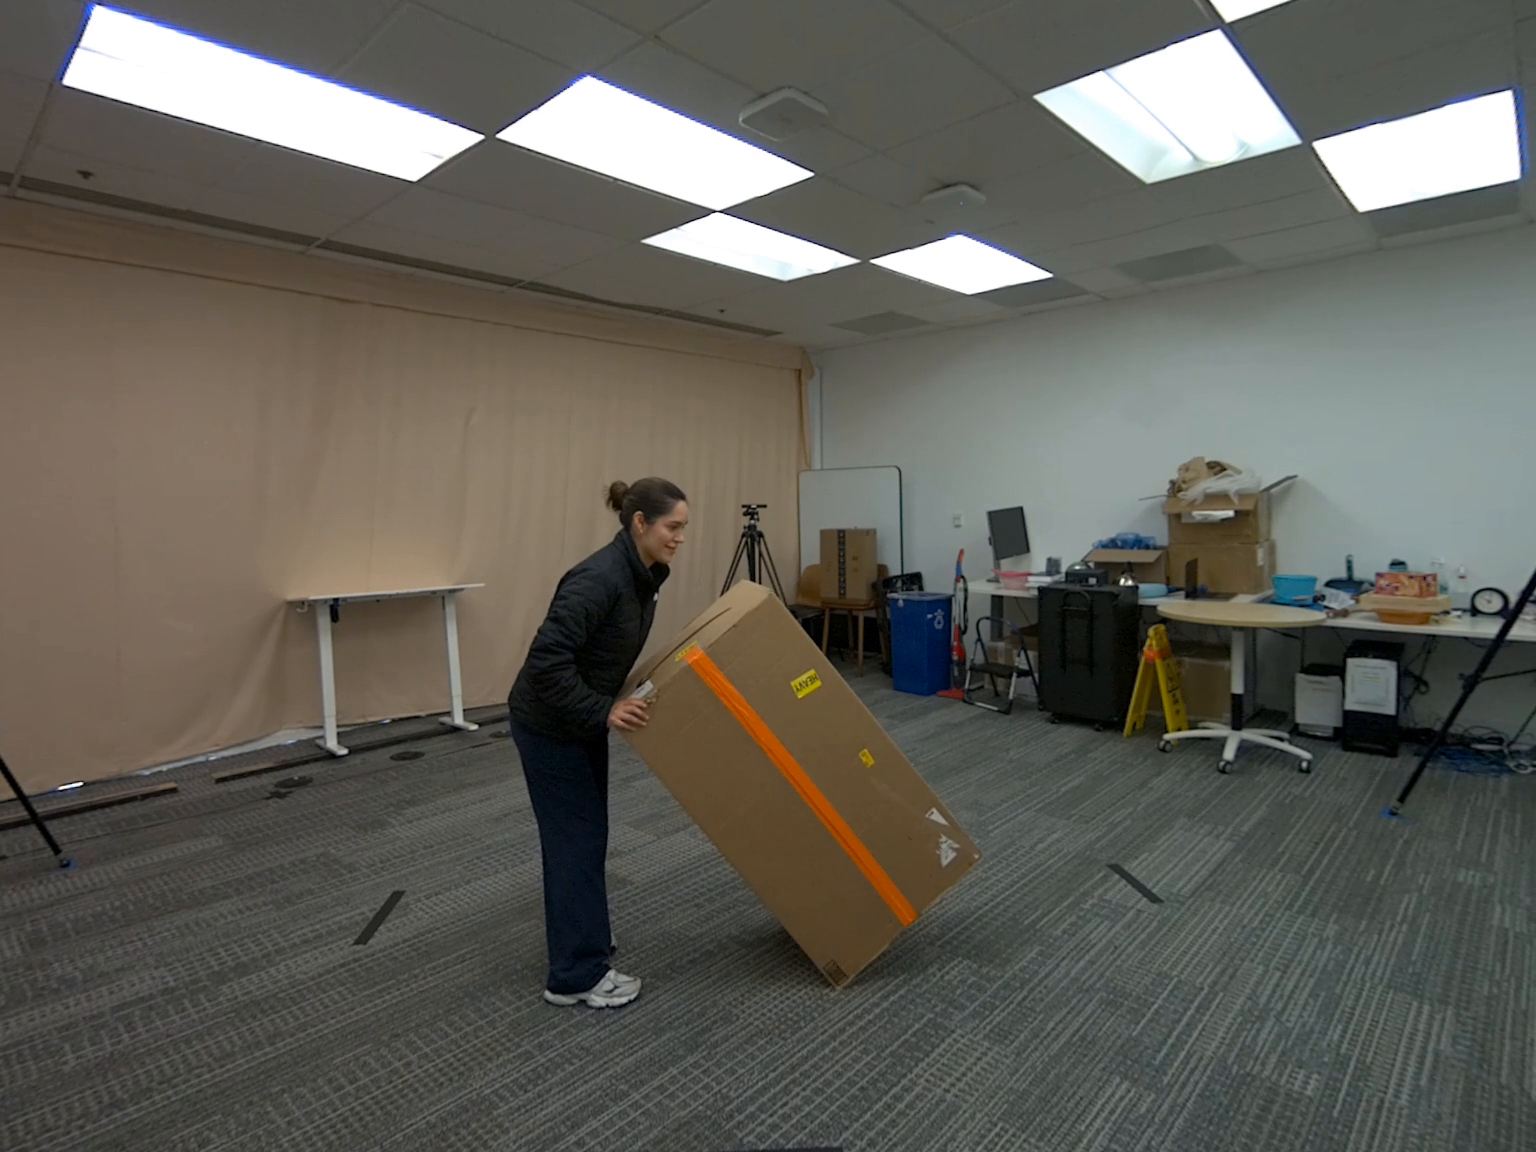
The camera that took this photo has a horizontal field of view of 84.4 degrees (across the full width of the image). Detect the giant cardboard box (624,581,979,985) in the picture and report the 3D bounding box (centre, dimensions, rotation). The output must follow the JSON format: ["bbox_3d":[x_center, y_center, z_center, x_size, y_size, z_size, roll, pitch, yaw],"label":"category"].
[{"bbox_3d":[0.083,0.601,2.583,0.582,1.017,0.452,-38,9,-7],"label":"giant cardboard box"}]
